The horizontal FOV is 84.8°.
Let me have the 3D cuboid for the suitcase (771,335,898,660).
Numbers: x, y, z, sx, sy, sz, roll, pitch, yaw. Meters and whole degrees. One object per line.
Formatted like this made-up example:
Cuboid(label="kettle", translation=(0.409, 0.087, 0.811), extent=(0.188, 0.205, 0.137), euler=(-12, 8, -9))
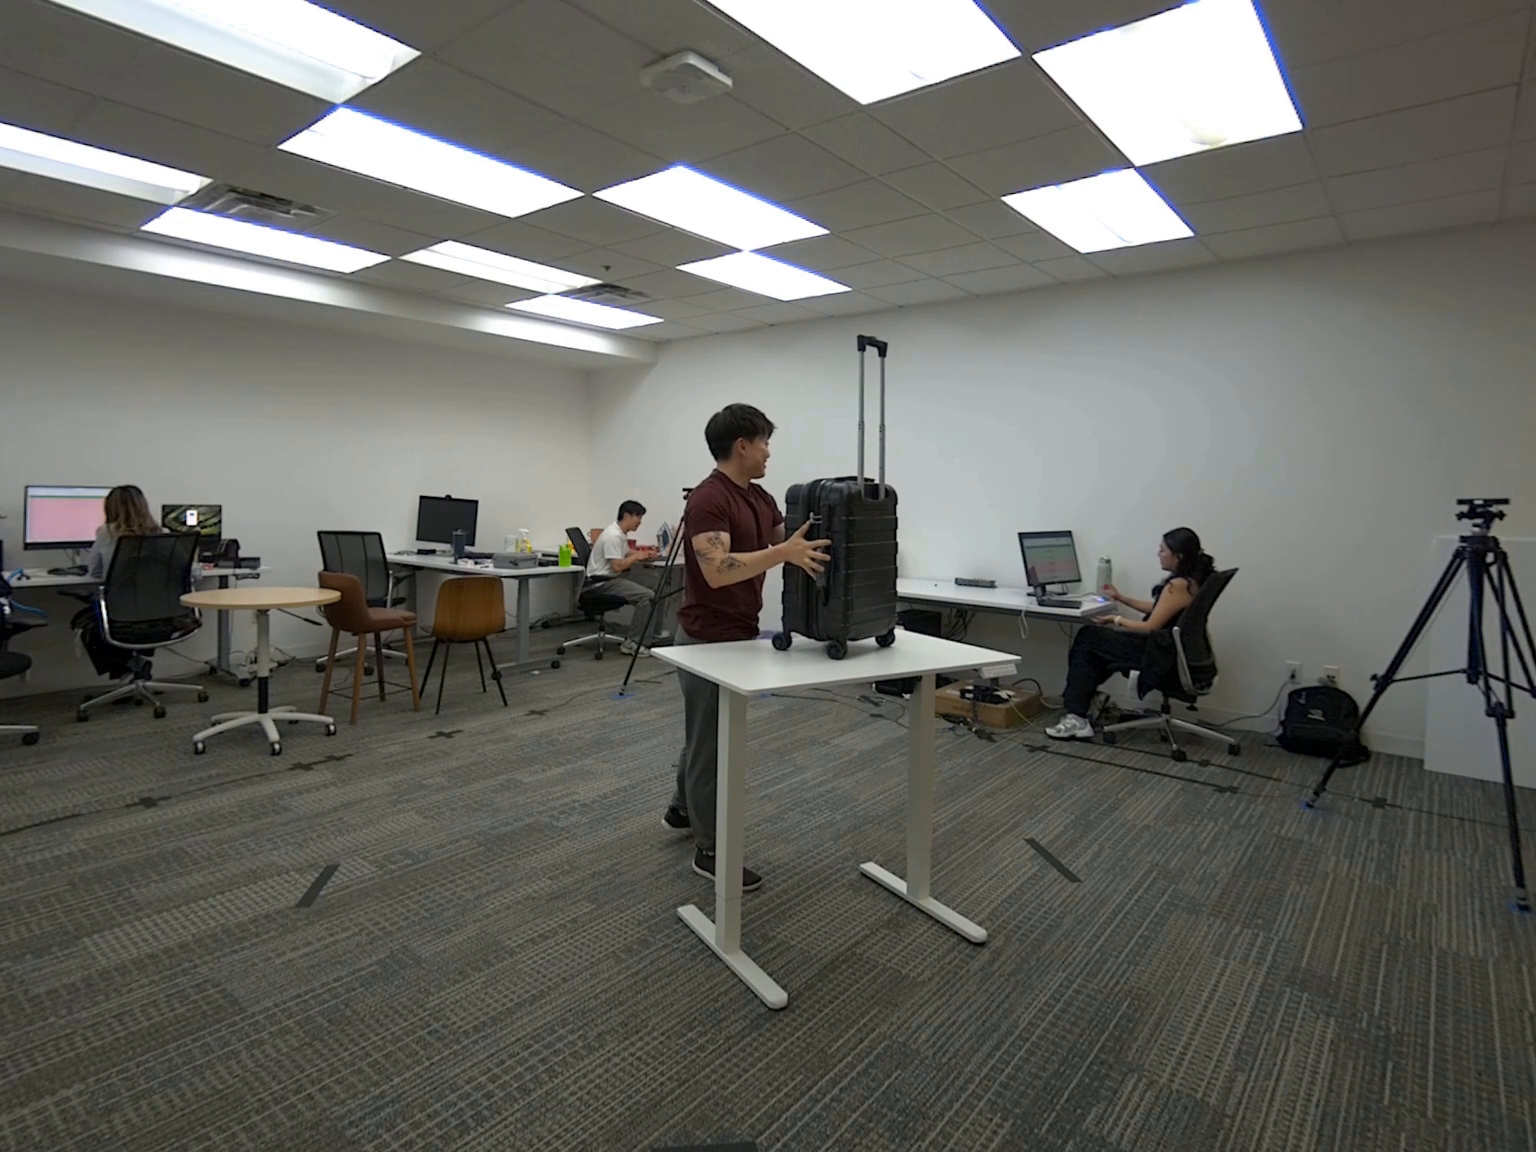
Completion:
Cuboid(label="suitcase", translation=(0.221, -0.248, 2.723), extent=(0.265, 0.977, 0.372), euler=(3, 3, 38))
